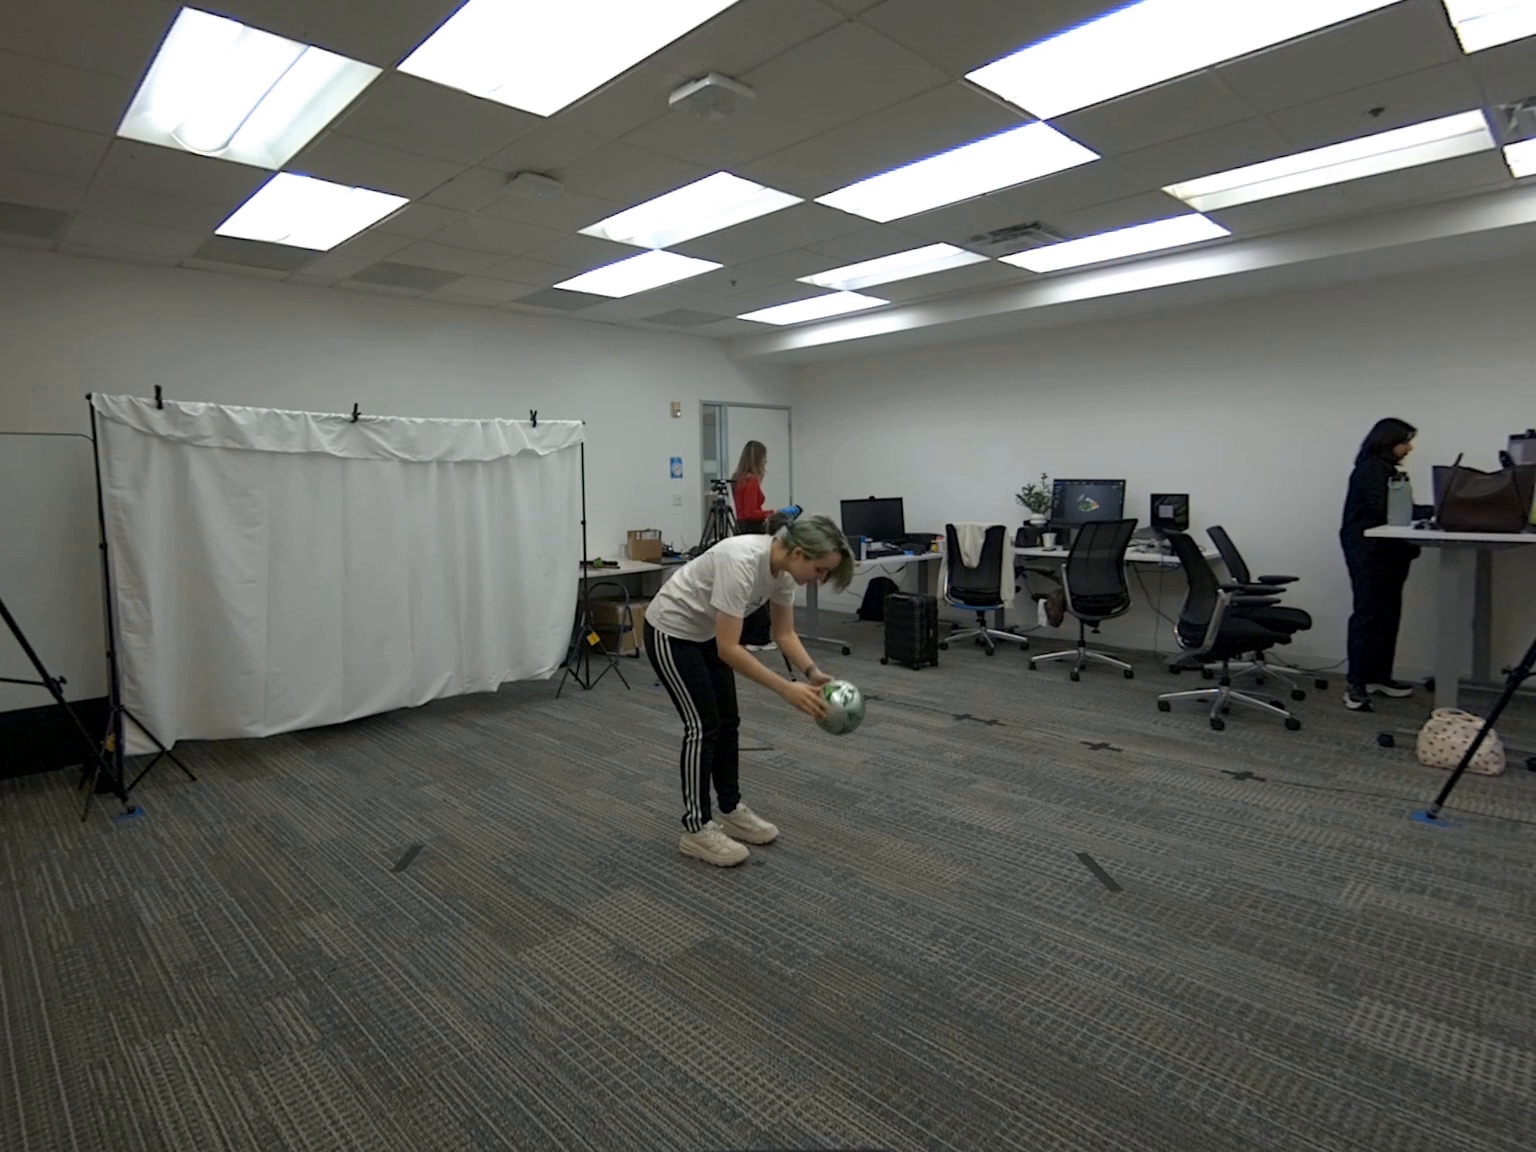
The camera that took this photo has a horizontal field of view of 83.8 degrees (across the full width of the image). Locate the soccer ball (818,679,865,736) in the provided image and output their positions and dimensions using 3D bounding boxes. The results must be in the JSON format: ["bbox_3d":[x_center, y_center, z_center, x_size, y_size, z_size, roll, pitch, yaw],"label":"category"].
[{"bbox_3d":[0.248,0.437,2.971,0.187,0.187,0.188,-1,5,-2],"label":"soccer ball"}]
